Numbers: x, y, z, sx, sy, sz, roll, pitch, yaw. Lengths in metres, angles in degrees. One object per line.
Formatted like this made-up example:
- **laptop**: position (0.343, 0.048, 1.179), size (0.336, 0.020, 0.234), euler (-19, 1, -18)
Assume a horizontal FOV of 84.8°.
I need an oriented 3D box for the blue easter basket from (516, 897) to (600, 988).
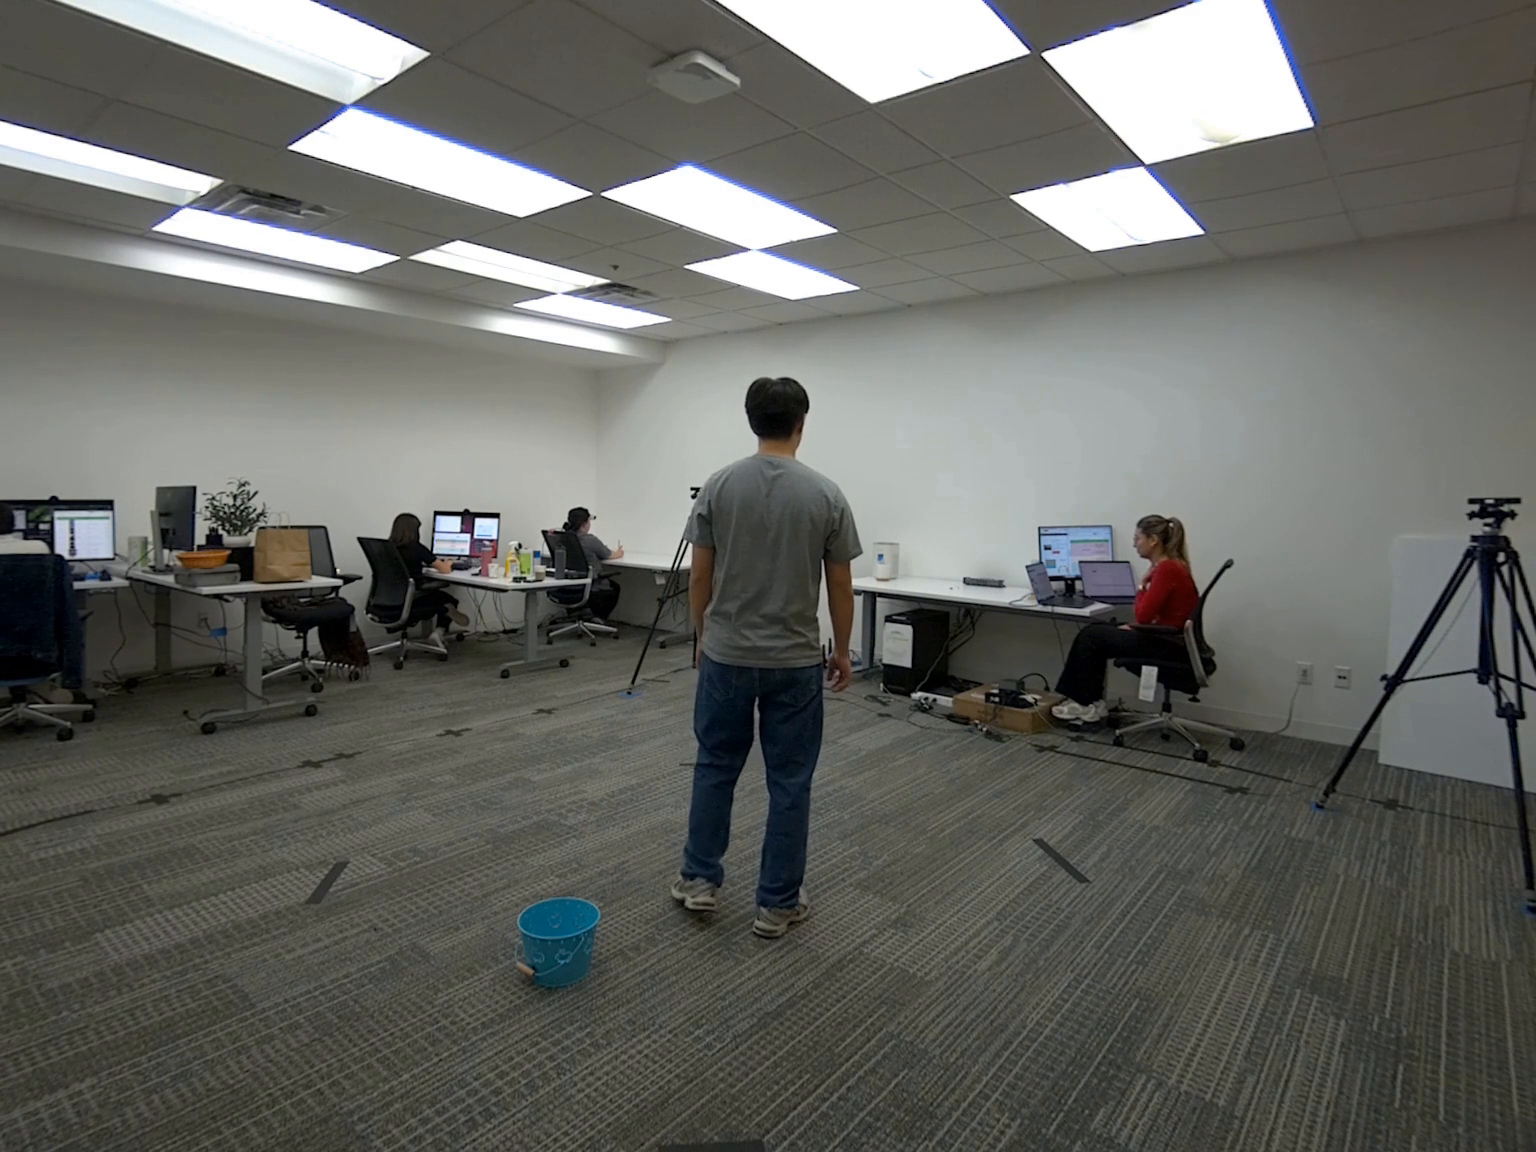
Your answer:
- **blue easter basket**: position (-0.613, 1.045, 2.441), size (0.243, 0.155, 0.244), euler (2, 4, -2)
